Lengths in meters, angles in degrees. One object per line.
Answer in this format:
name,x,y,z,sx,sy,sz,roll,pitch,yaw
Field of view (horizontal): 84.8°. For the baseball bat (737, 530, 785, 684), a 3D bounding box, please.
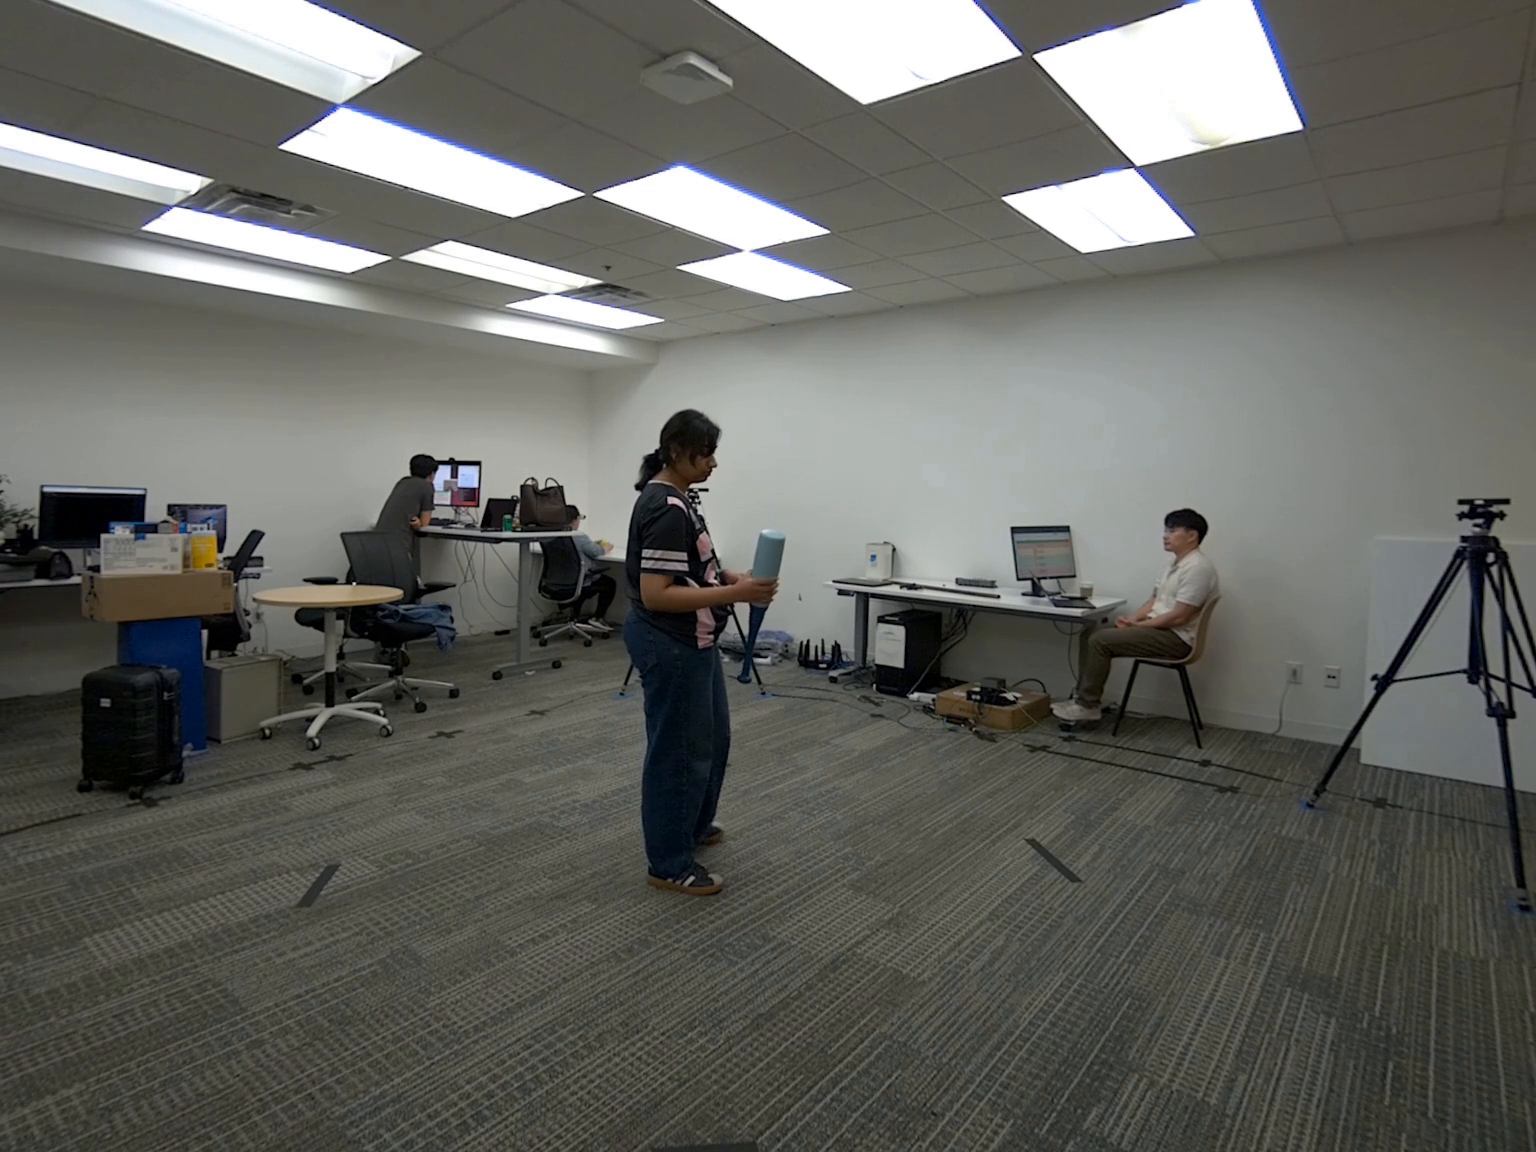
baseball bat,-0.033,0.104,2.816,0.088,0.536,0.091,9,19,-5
